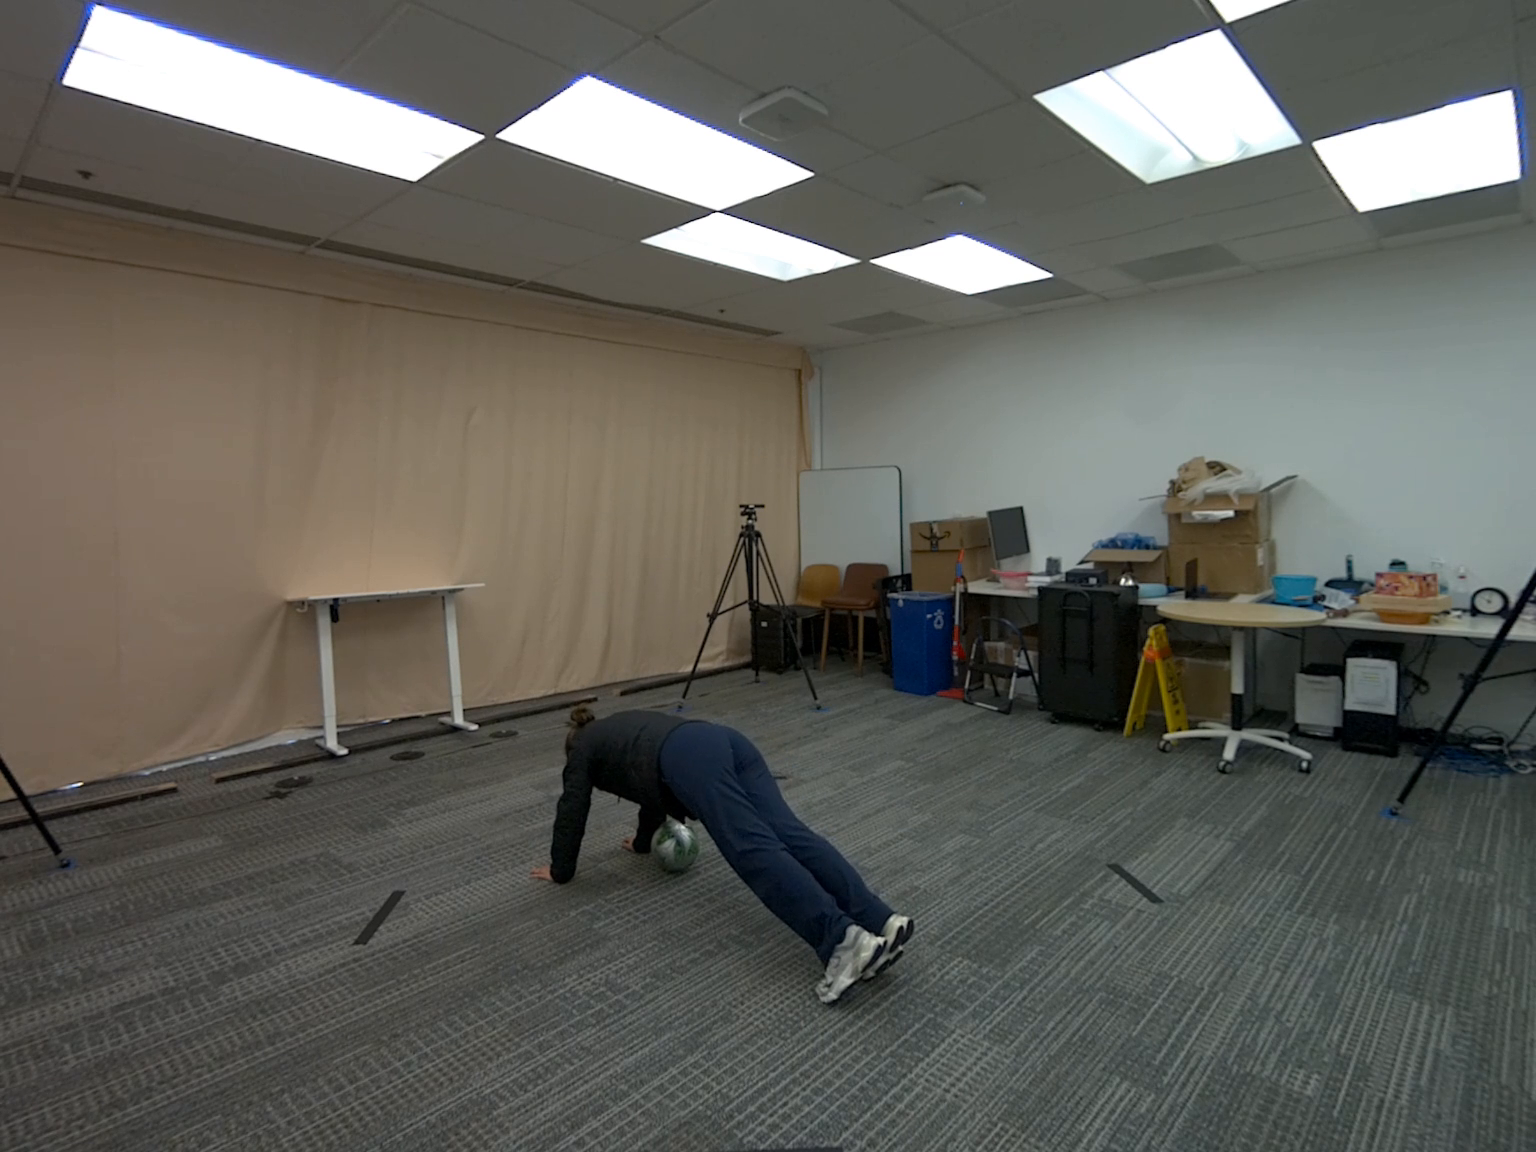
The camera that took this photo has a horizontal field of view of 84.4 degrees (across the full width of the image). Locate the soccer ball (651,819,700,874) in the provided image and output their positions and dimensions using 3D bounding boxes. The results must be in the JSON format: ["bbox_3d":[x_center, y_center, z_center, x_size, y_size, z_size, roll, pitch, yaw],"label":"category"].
[{"bbox_3d":[-0.352,1.031,3.223,0.187,0.187,0.188,-1,4,-2],"label":"soccer ball"}]
